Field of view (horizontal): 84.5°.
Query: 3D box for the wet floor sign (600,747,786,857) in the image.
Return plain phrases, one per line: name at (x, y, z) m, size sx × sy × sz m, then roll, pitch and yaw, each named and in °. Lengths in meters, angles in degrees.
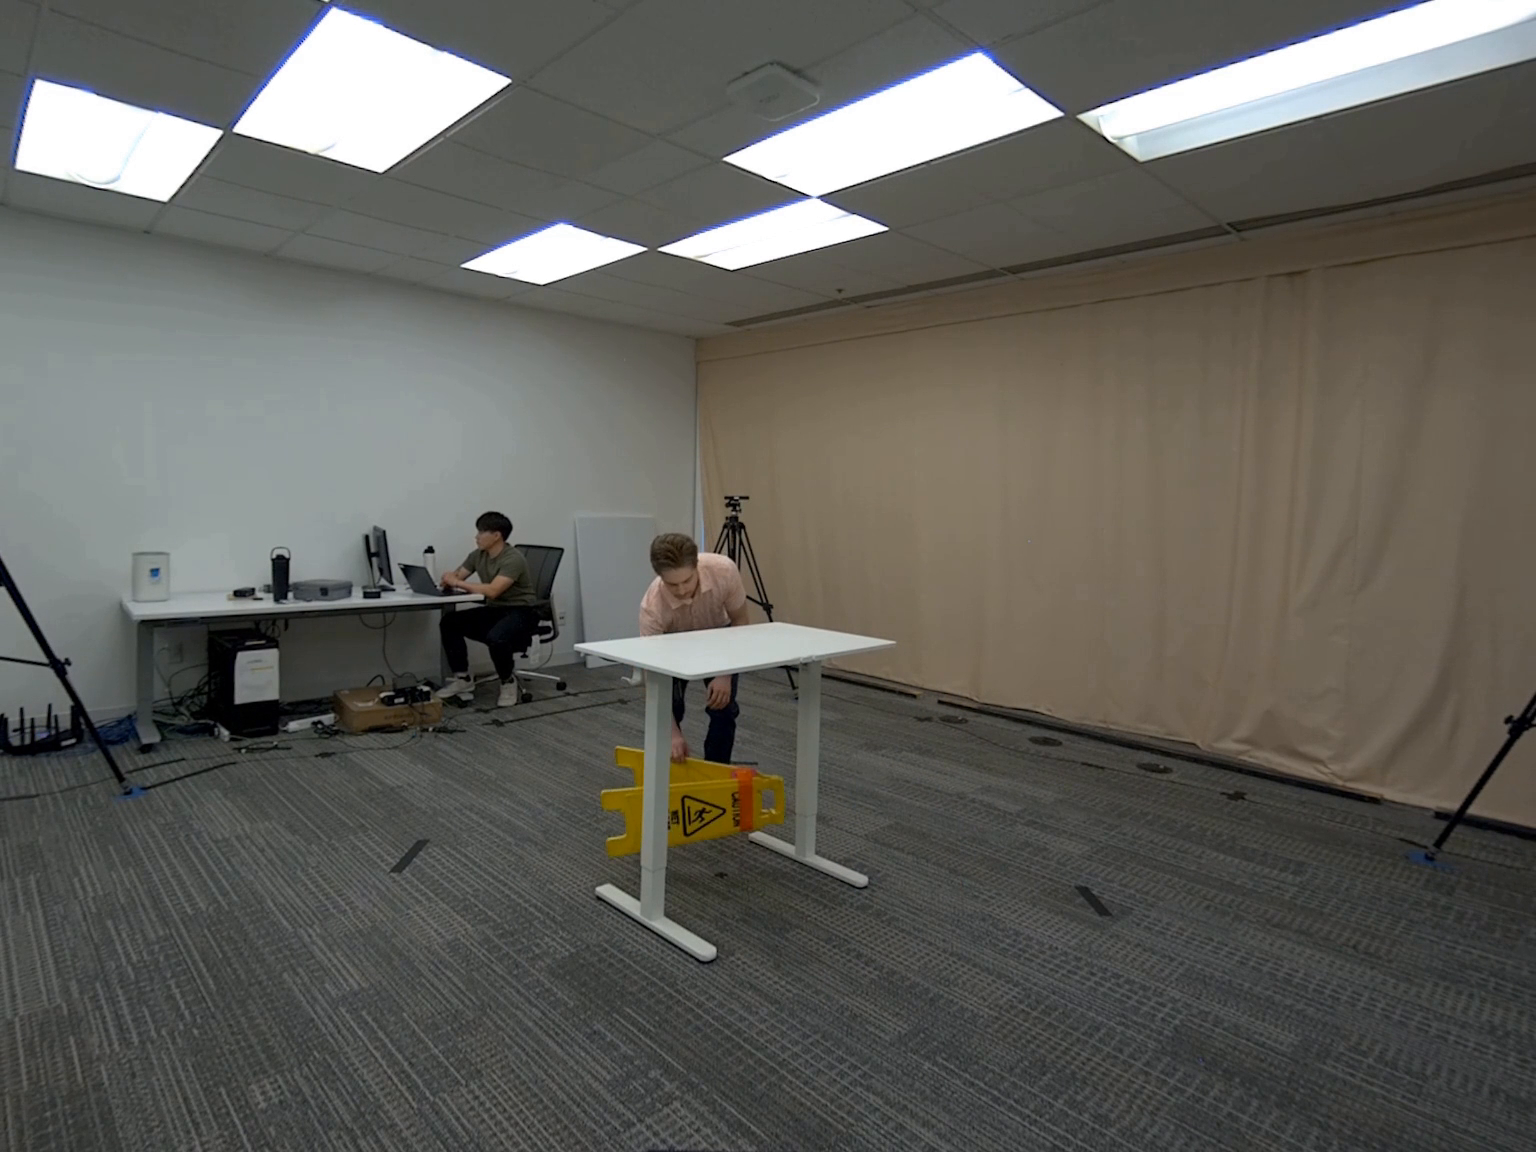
wet floor sign at (-0.267, 0.831, 3.122) m, size 0.646 × 0.278 × 0.294 m, roll -1°, pitch 21°, yaw 0°
